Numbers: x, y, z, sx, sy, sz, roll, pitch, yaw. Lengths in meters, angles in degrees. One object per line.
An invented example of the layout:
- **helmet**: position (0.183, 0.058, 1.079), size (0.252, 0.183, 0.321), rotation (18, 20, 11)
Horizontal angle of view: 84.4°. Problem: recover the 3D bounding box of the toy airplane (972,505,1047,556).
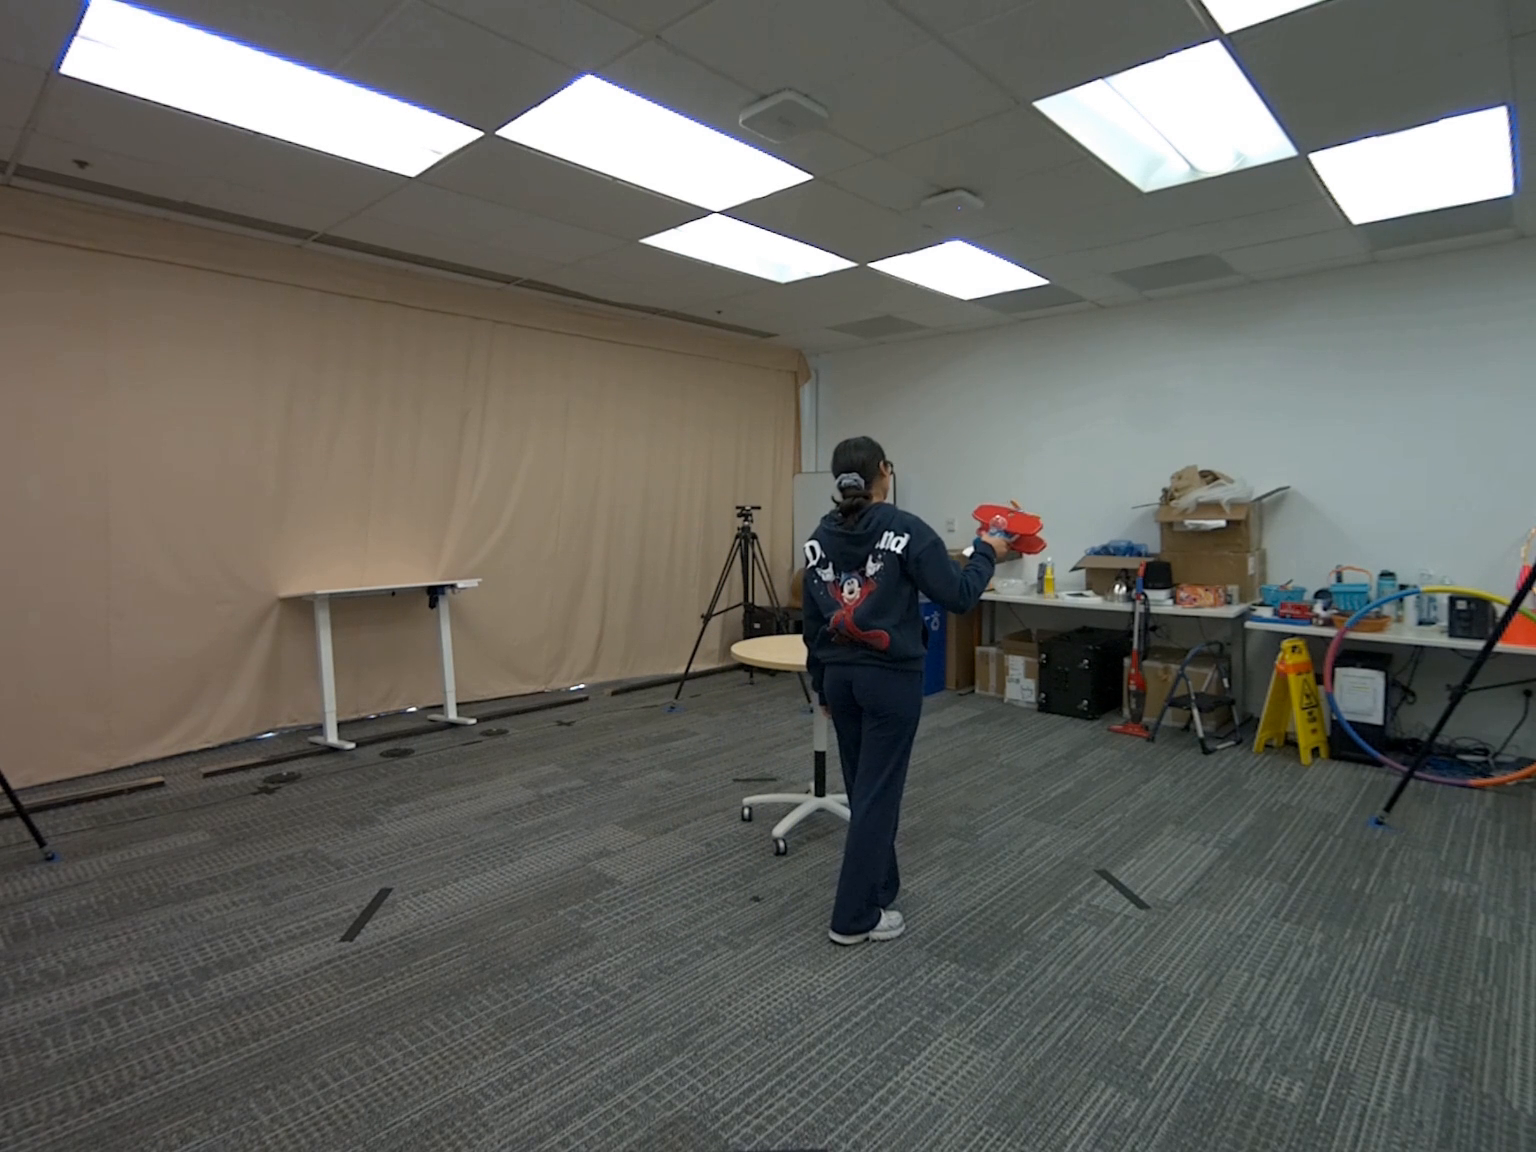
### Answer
- **toy airplane**: position (0.800, -0.128, 2.777), size (0.258, 0.153, 0.257), rotation (6, 32, 27)
